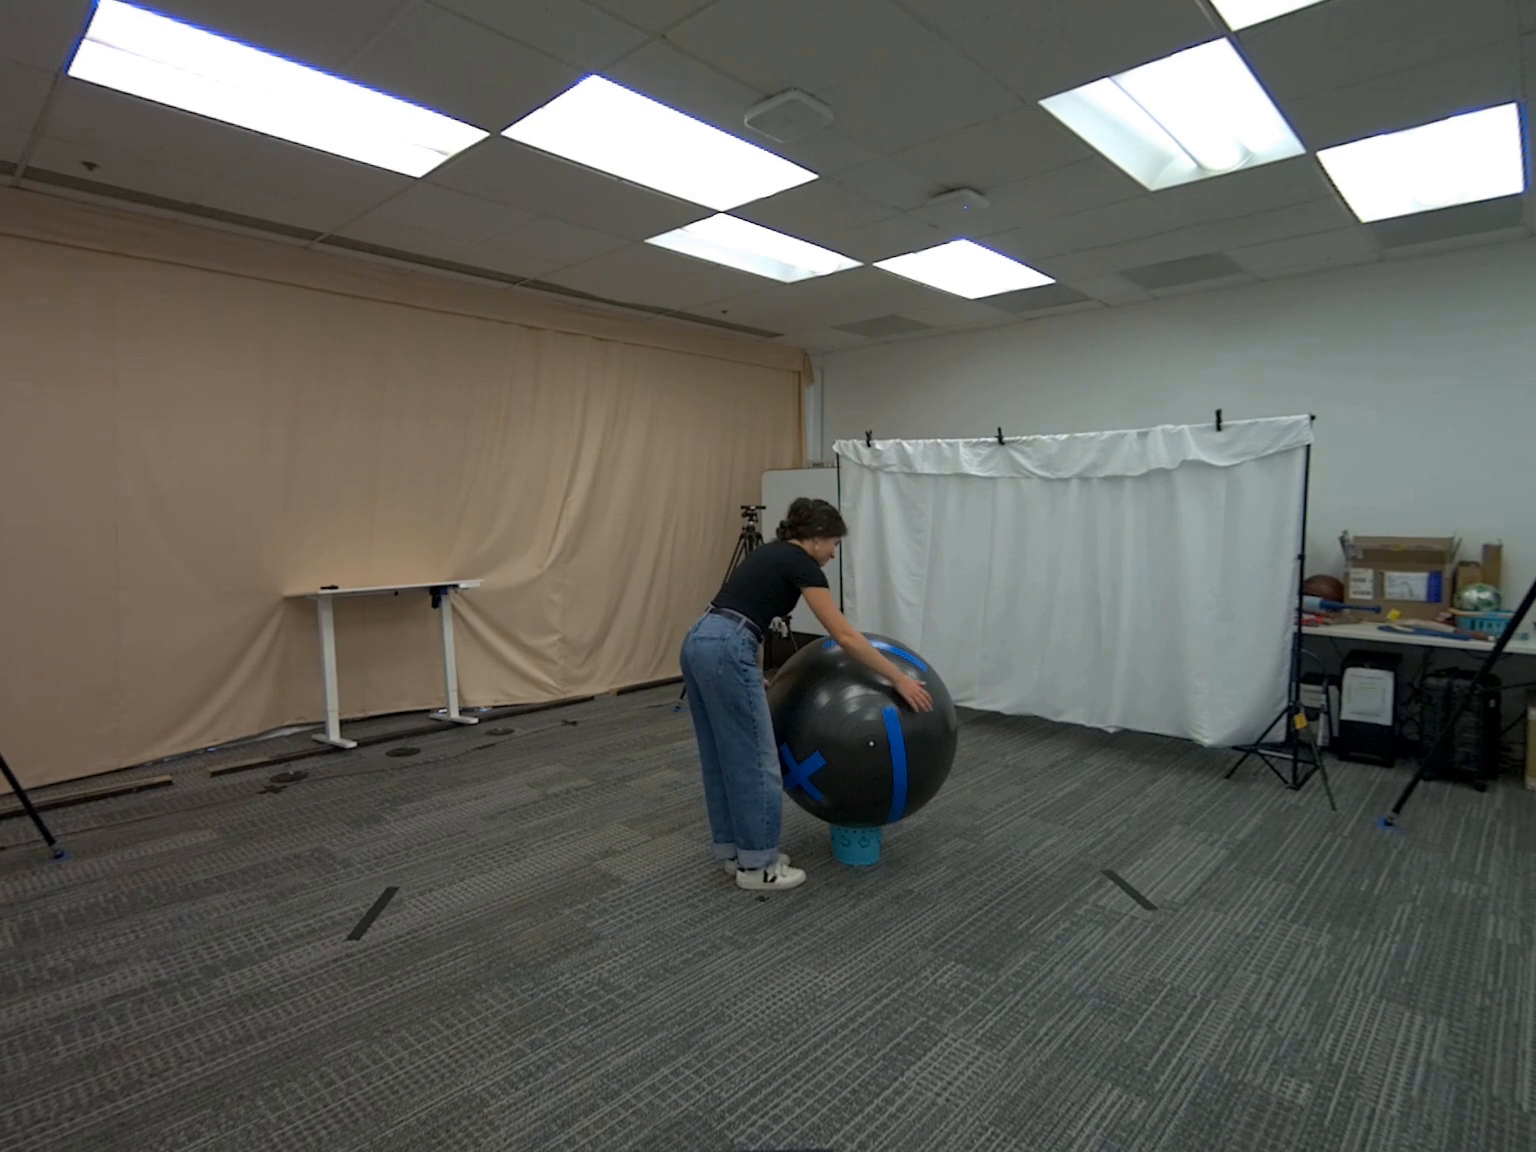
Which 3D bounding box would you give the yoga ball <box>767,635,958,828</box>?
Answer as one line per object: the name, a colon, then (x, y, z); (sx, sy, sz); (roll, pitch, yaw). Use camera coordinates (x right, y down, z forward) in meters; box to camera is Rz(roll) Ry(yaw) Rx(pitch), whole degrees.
yoga ball: (0.362, 0.604, 3.338); (0.757, 0.756, 0.760); (0, 4, -2)
